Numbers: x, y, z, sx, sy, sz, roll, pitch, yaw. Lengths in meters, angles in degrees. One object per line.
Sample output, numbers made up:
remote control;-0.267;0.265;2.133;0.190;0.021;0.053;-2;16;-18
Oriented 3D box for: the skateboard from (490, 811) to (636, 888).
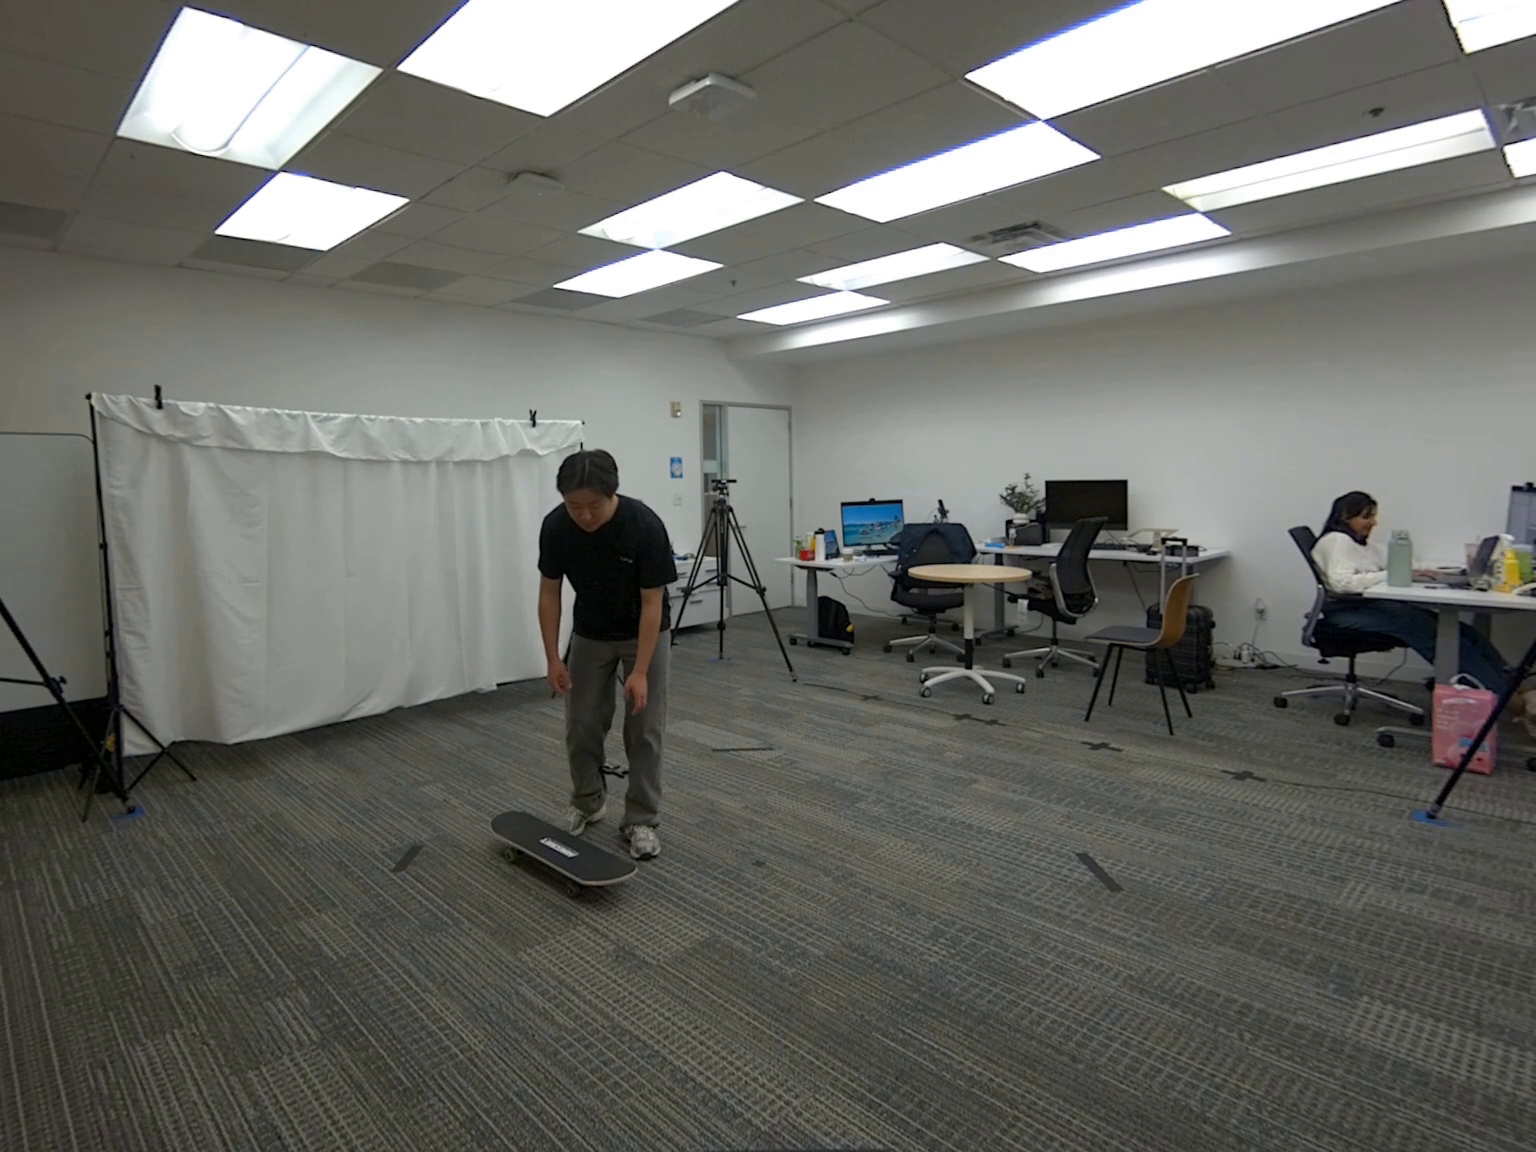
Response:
skateboard;-0.753;1.010;3.078;0.188;0.110;0.810;-8;9;-44
